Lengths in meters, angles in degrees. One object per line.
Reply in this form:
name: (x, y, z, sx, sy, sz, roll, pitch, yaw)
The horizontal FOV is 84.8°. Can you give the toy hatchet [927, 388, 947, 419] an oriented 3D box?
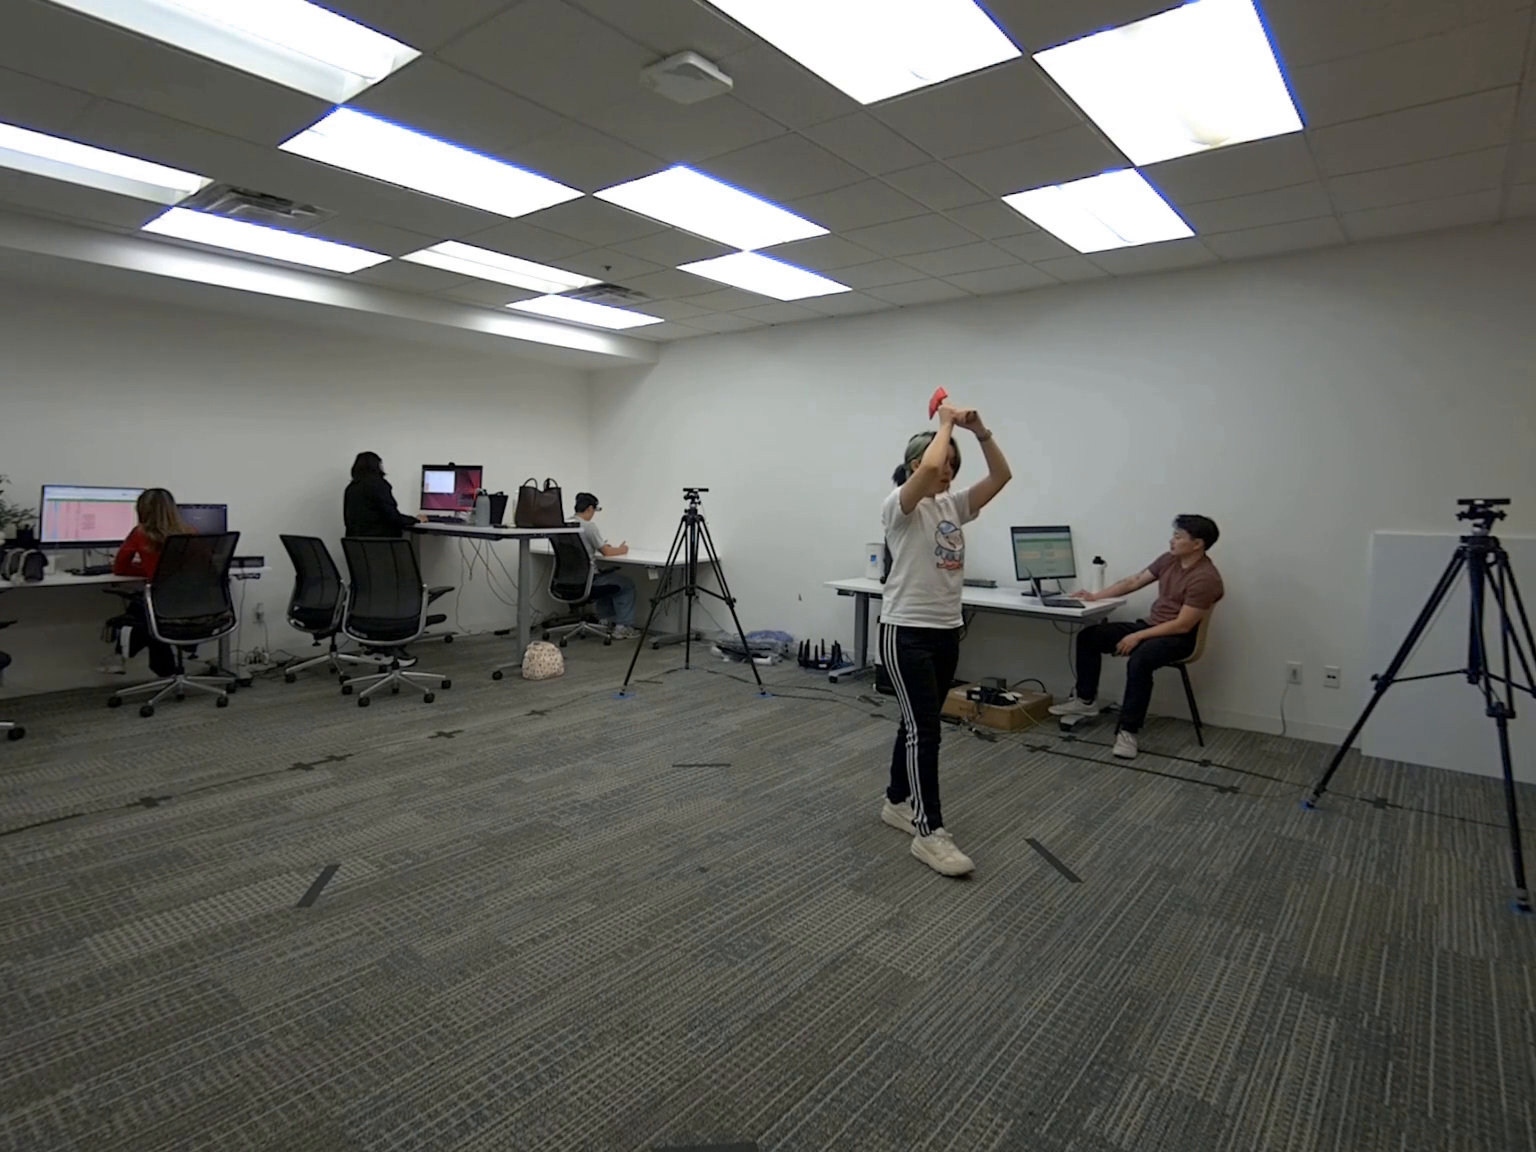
toy hatchet: (0.700, -0.667, 3.247, 0.029, 0.130, 0.278, -1, 9, -25)
